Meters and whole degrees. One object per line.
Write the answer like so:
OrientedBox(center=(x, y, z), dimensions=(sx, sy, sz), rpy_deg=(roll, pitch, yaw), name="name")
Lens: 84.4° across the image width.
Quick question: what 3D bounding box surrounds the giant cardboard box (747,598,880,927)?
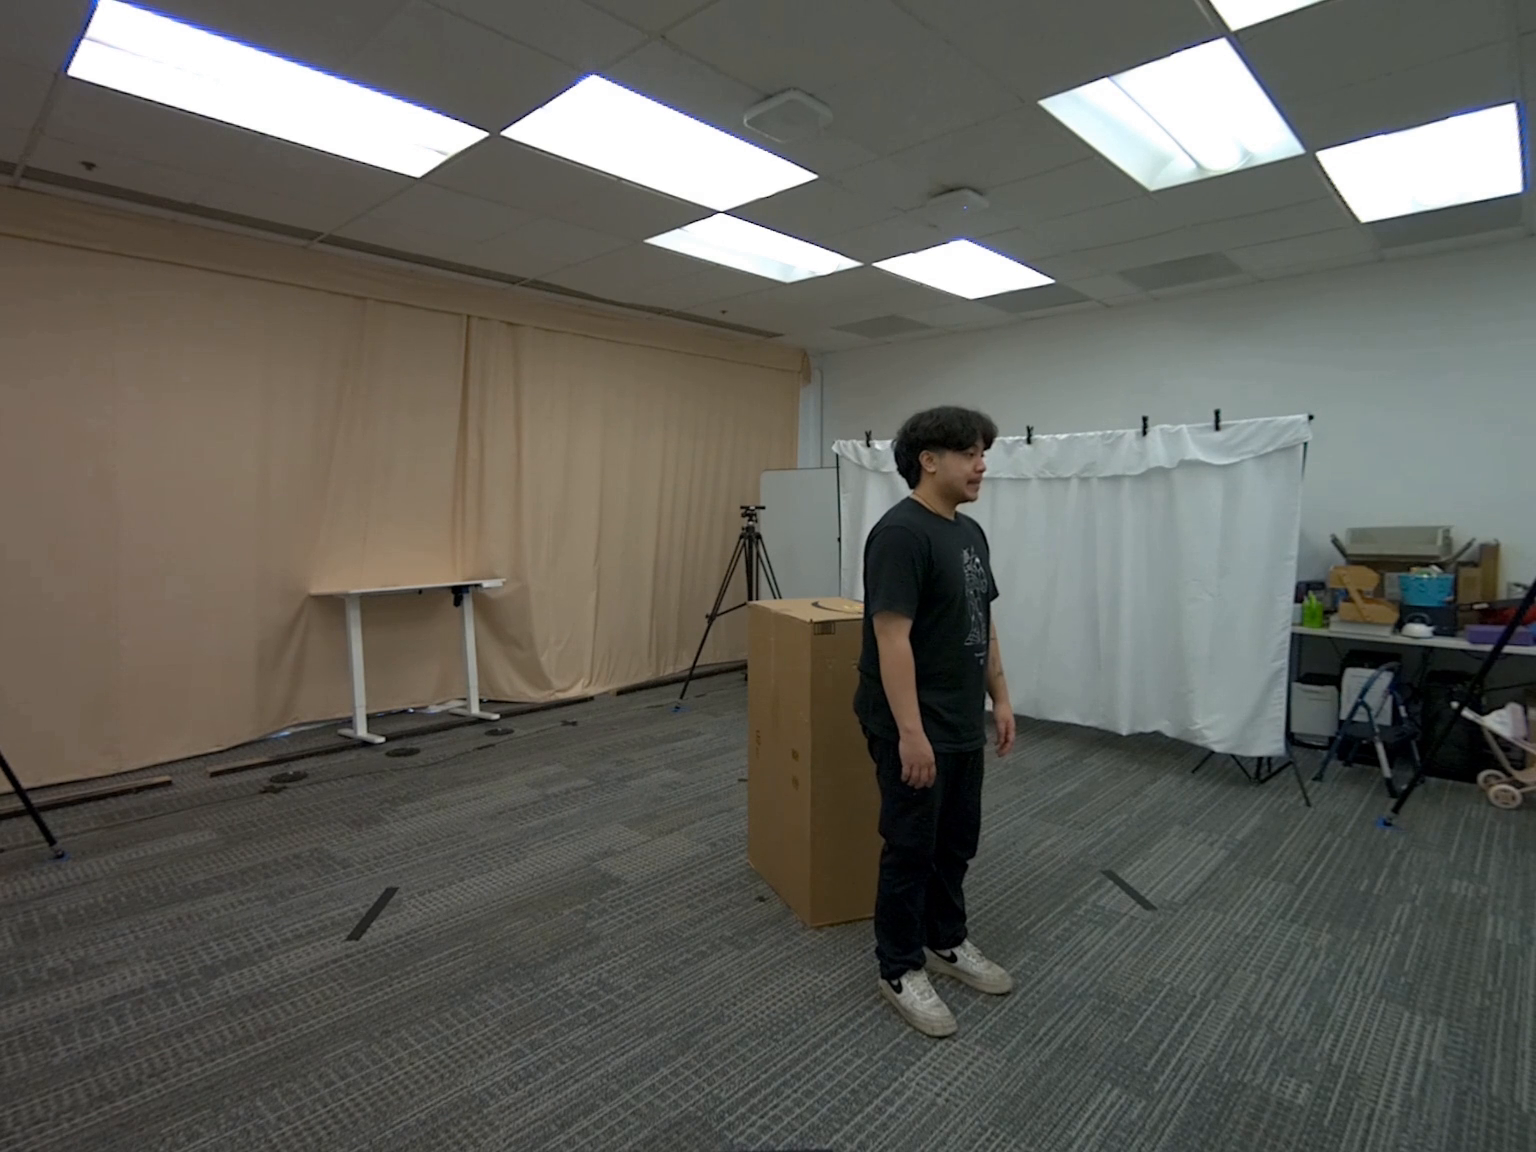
OrientedBox(center=(0.228, 0.623, 3.080), dimensions=(0.438, 1.025, 0.597), rpy_deg=(0, 3, -21), name="giant cardboard box")
